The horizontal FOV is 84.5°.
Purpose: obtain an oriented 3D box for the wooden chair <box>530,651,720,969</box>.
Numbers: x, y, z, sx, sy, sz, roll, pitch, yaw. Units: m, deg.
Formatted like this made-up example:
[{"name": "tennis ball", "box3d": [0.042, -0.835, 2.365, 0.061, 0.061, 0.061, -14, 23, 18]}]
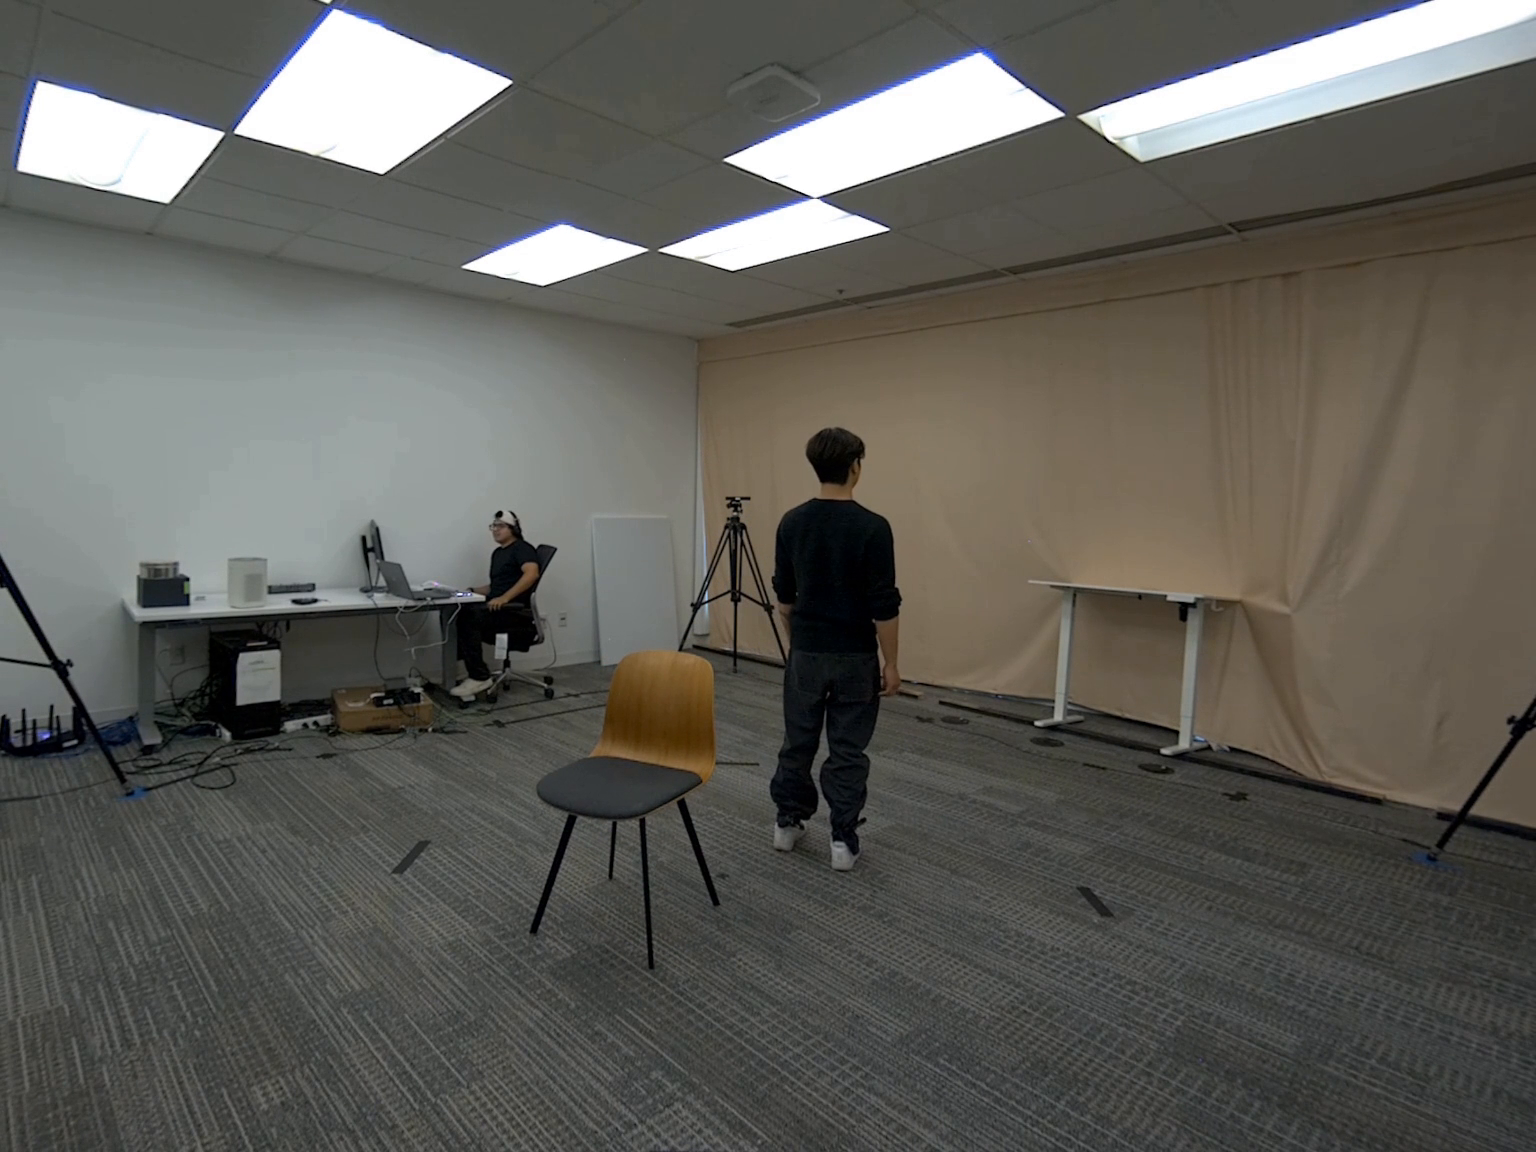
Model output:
[{"name": "wooden chair", "box3d": [-0.453, 0.706, 2.731, 0.487, 0.878, 0.513, 3, 0, 25]}]
